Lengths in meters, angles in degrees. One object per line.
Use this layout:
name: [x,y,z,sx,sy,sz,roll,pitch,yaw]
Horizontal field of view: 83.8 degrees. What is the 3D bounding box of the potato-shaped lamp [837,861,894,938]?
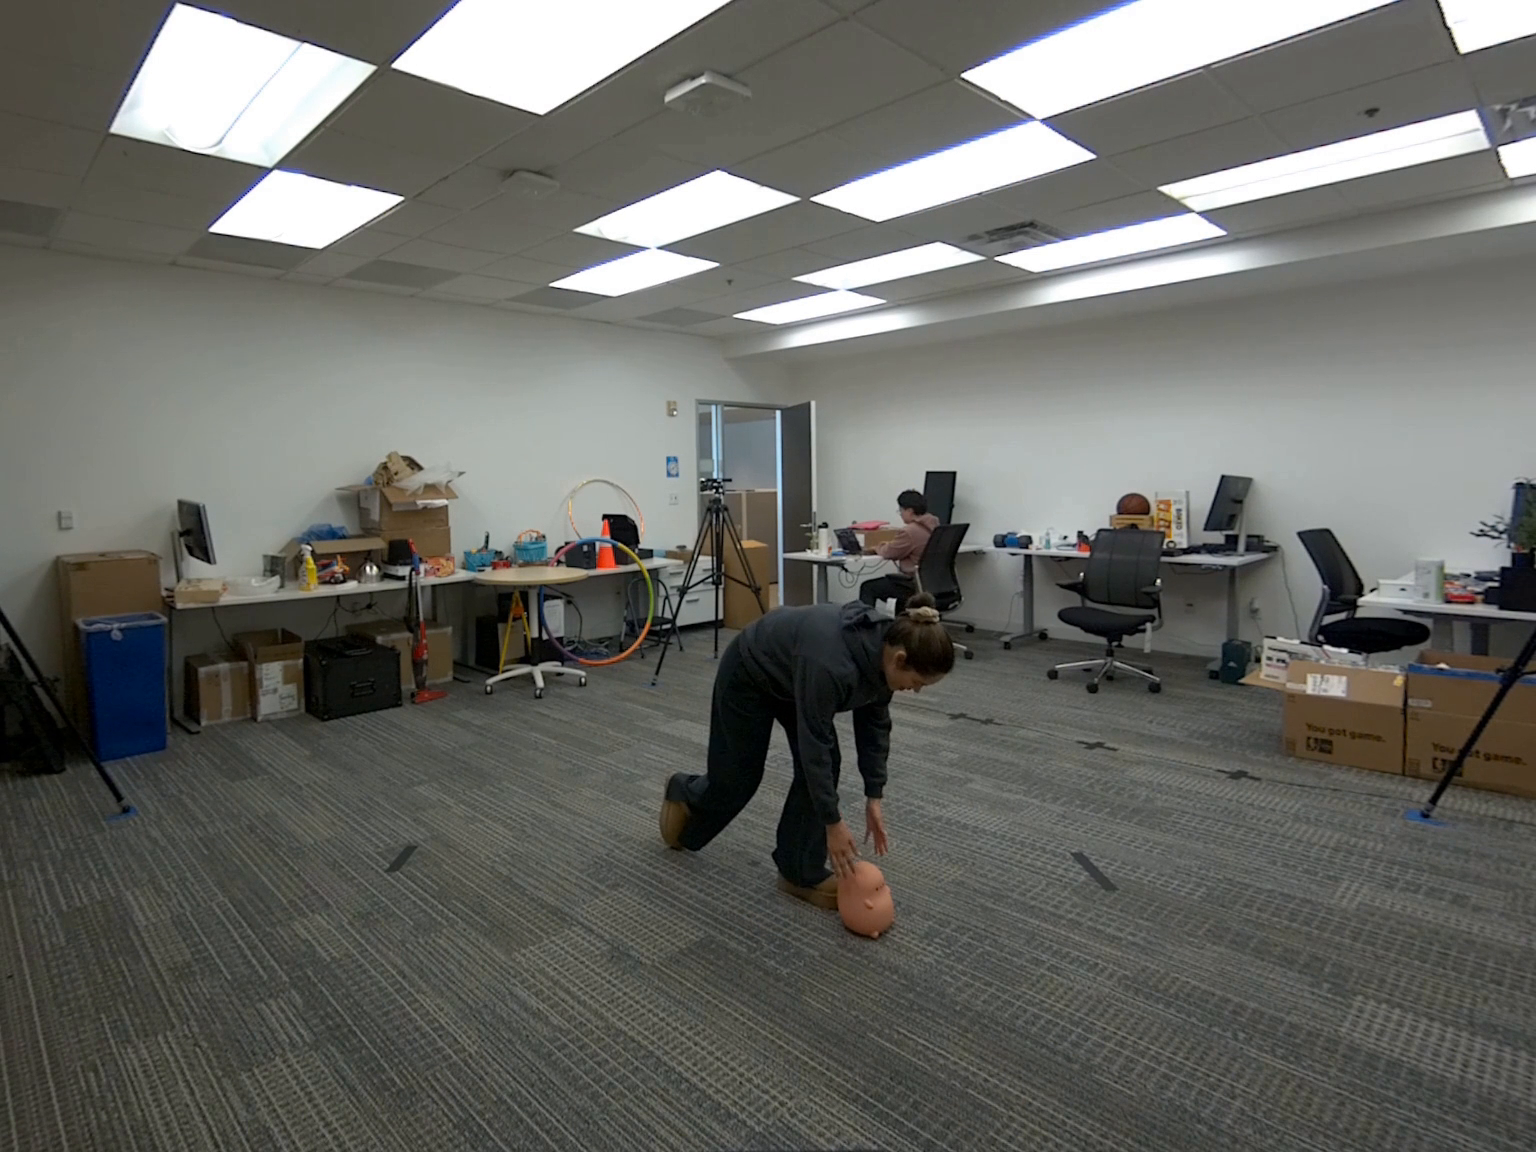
potato-shaped lamp: [0.302,0.988,2.642,0.176,0.198,0.160,-1,3,36]
